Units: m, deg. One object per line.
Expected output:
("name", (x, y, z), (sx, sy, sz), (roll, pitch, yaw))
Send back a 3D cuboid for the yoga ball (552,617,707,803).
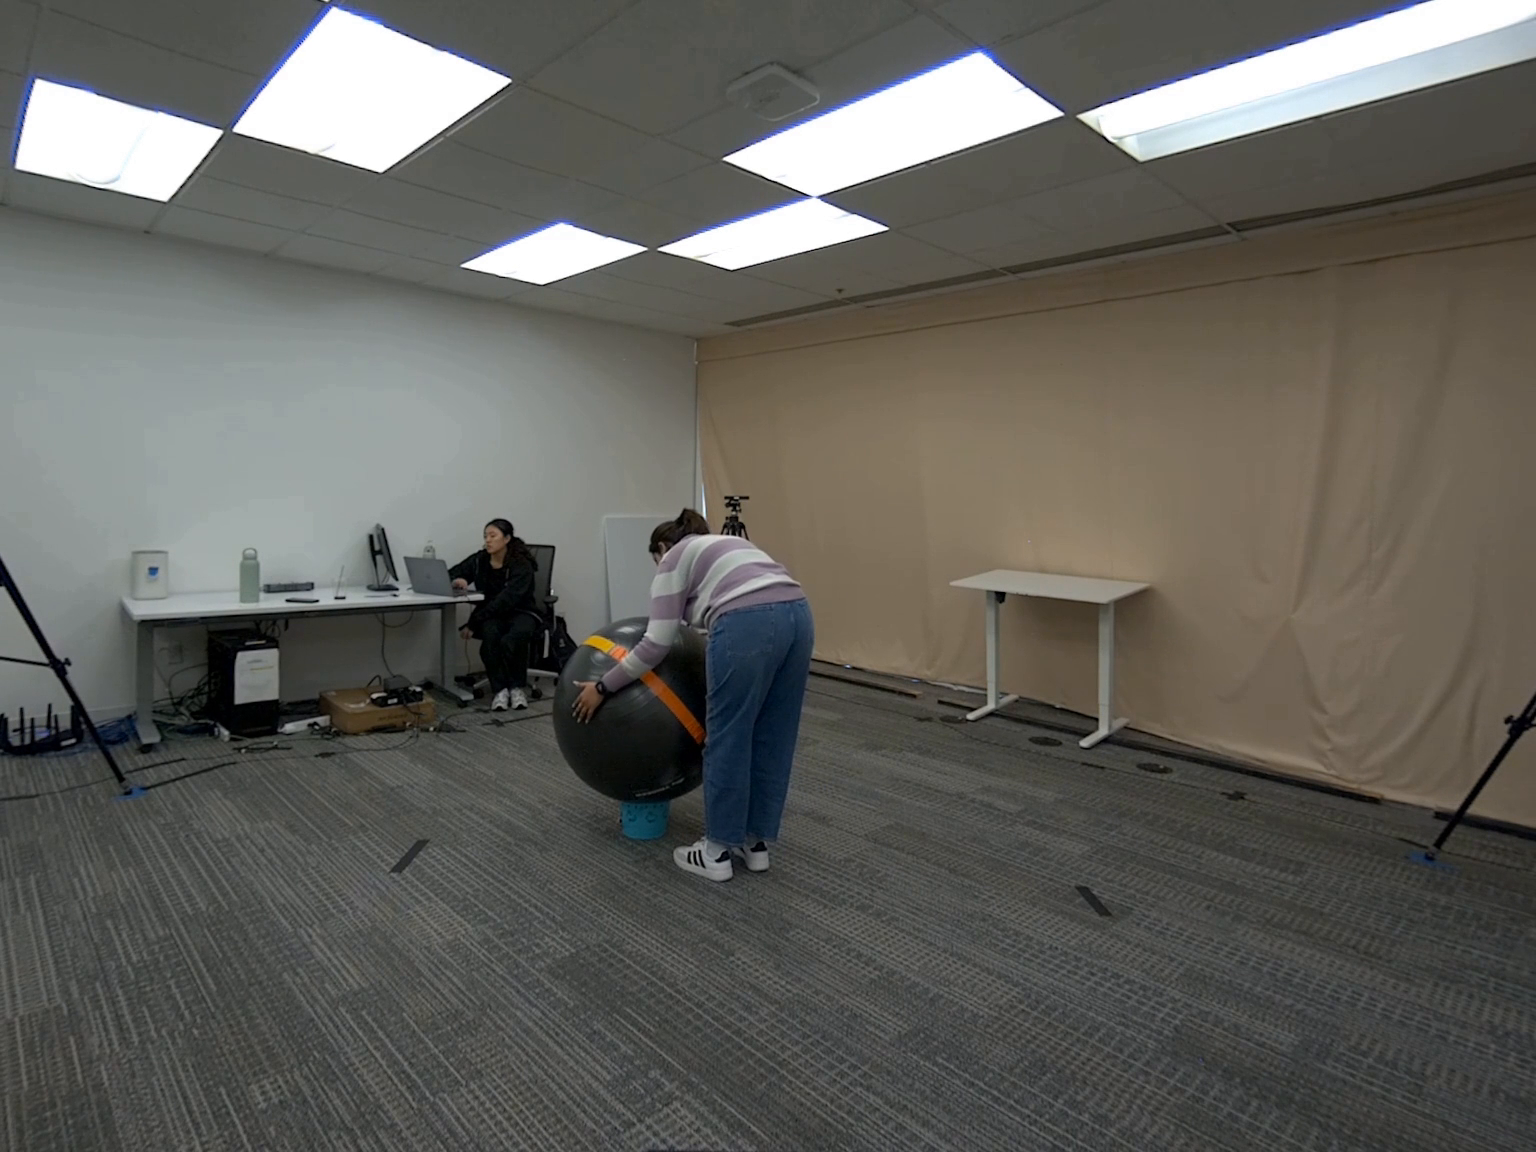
("yoga ball", (-0.514, 0.555, 3.494), (0.757, 0.756, 0.761), (1, 4, -1))
